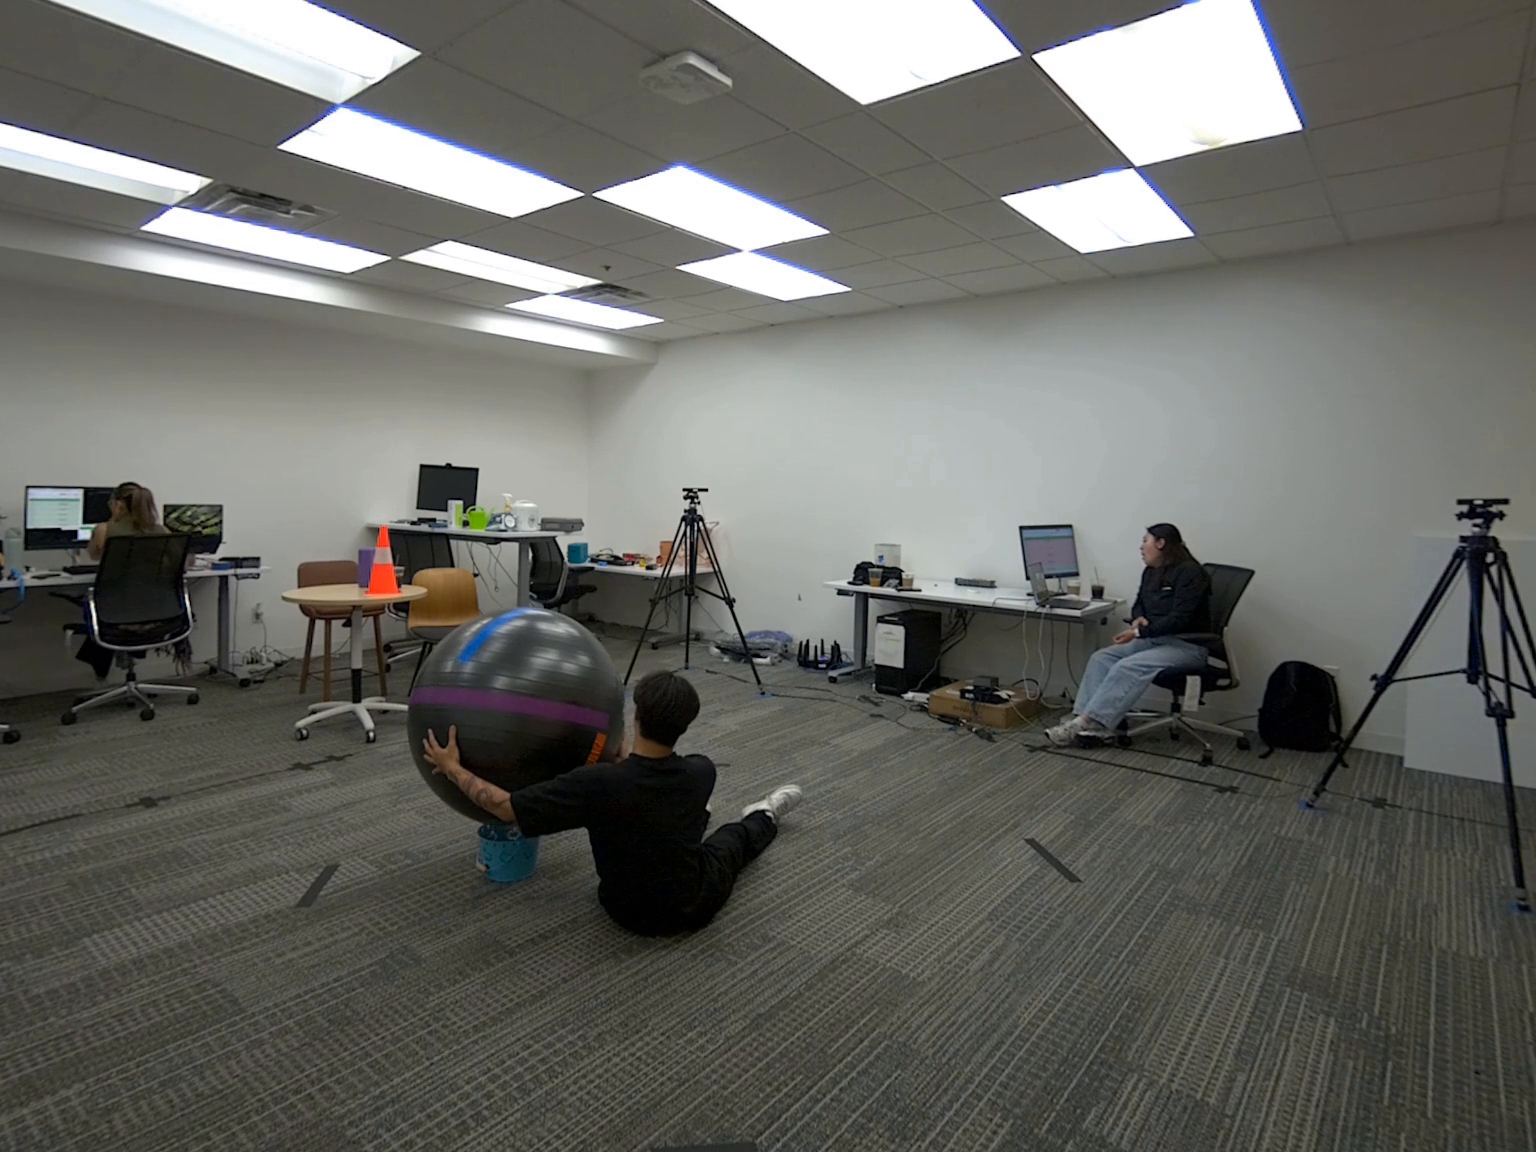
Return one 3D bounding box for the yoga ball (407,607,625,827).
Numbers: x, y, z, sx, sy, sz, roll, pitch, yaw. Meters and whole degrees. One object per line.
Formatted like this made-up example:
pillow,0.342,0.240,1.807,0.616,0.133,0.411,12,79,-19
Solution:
yoga ball,-0.909,0.500,3.049,0.757,0.755,0.762,1,4,-2
